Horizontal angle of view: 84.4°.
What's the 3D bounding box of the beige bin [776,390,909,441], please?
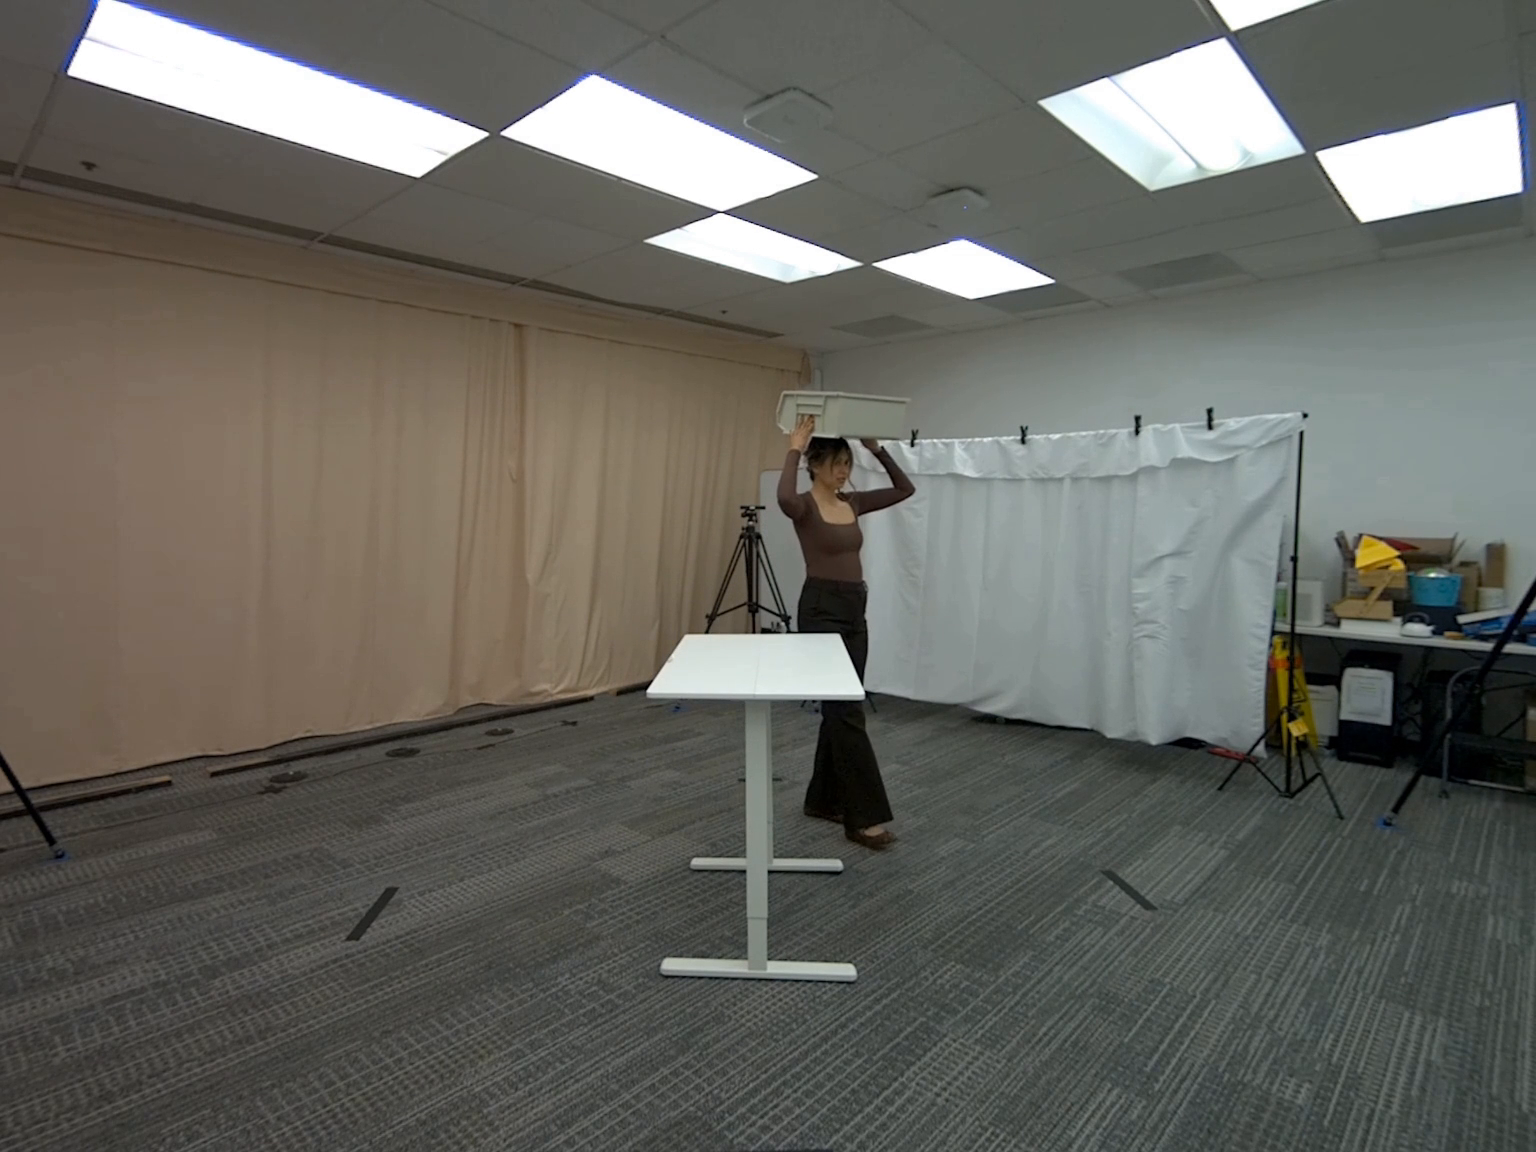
[{"bbox_3d":[0.315,-0.679,3.588,0.410,0.188,0.391,-4,14,-37],"label":"beige bin"}]
